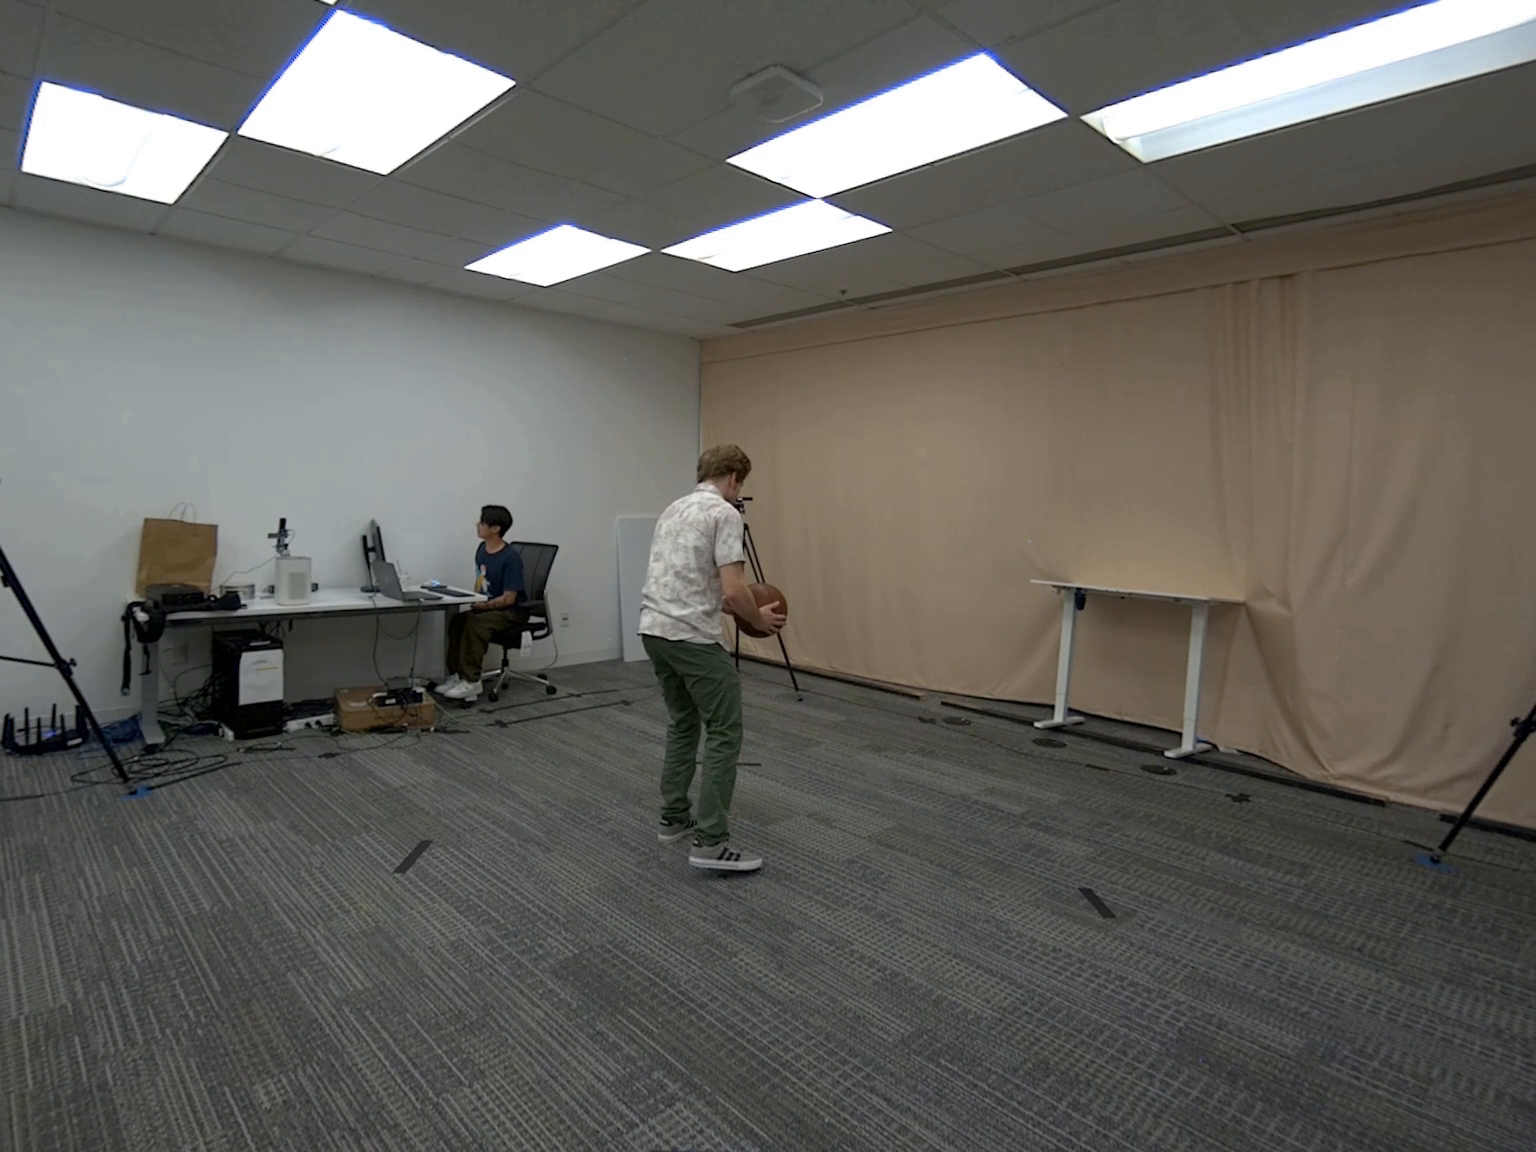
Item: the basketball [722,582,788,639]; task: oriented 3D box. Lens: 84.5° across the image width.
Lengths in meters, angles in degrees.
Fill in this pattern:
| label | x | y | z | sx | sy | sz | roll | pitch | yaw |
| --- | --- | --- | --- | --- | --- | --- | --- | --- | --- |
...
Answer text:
| label | x | y | z | sx | sy | sz | roll | pitch | yaw |
| --- | --- | --- | --- | --- | --- | --- | --- | --- | --- |
| basketball | -0.041 | 0.154 | 3.614 | 0.236 | 0.235 | 0.237 | 1 | 4 | -1 |
